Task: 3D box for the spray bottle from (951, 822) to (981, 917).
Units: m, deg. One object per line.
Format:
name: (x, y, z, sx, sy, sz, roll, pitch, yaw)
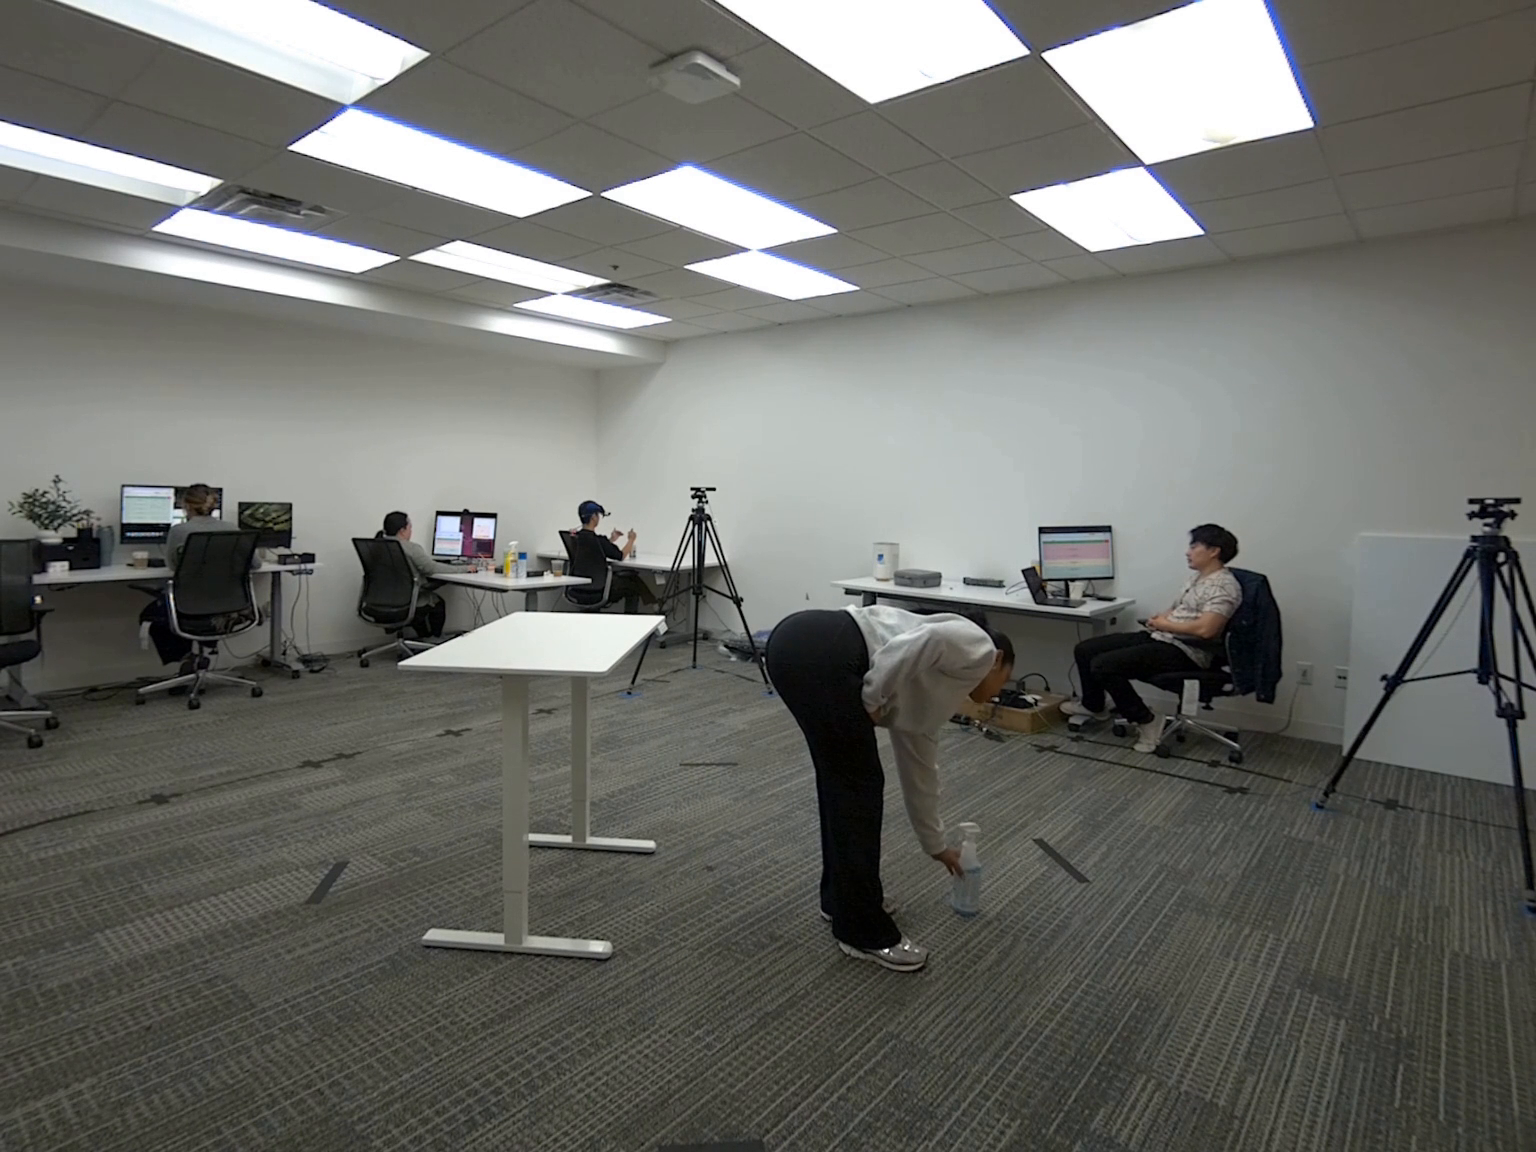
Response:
spray bottle: (0.664, 0.973, 2.836, 0.090, 0.296, 0.087, 2, 5, -2)
